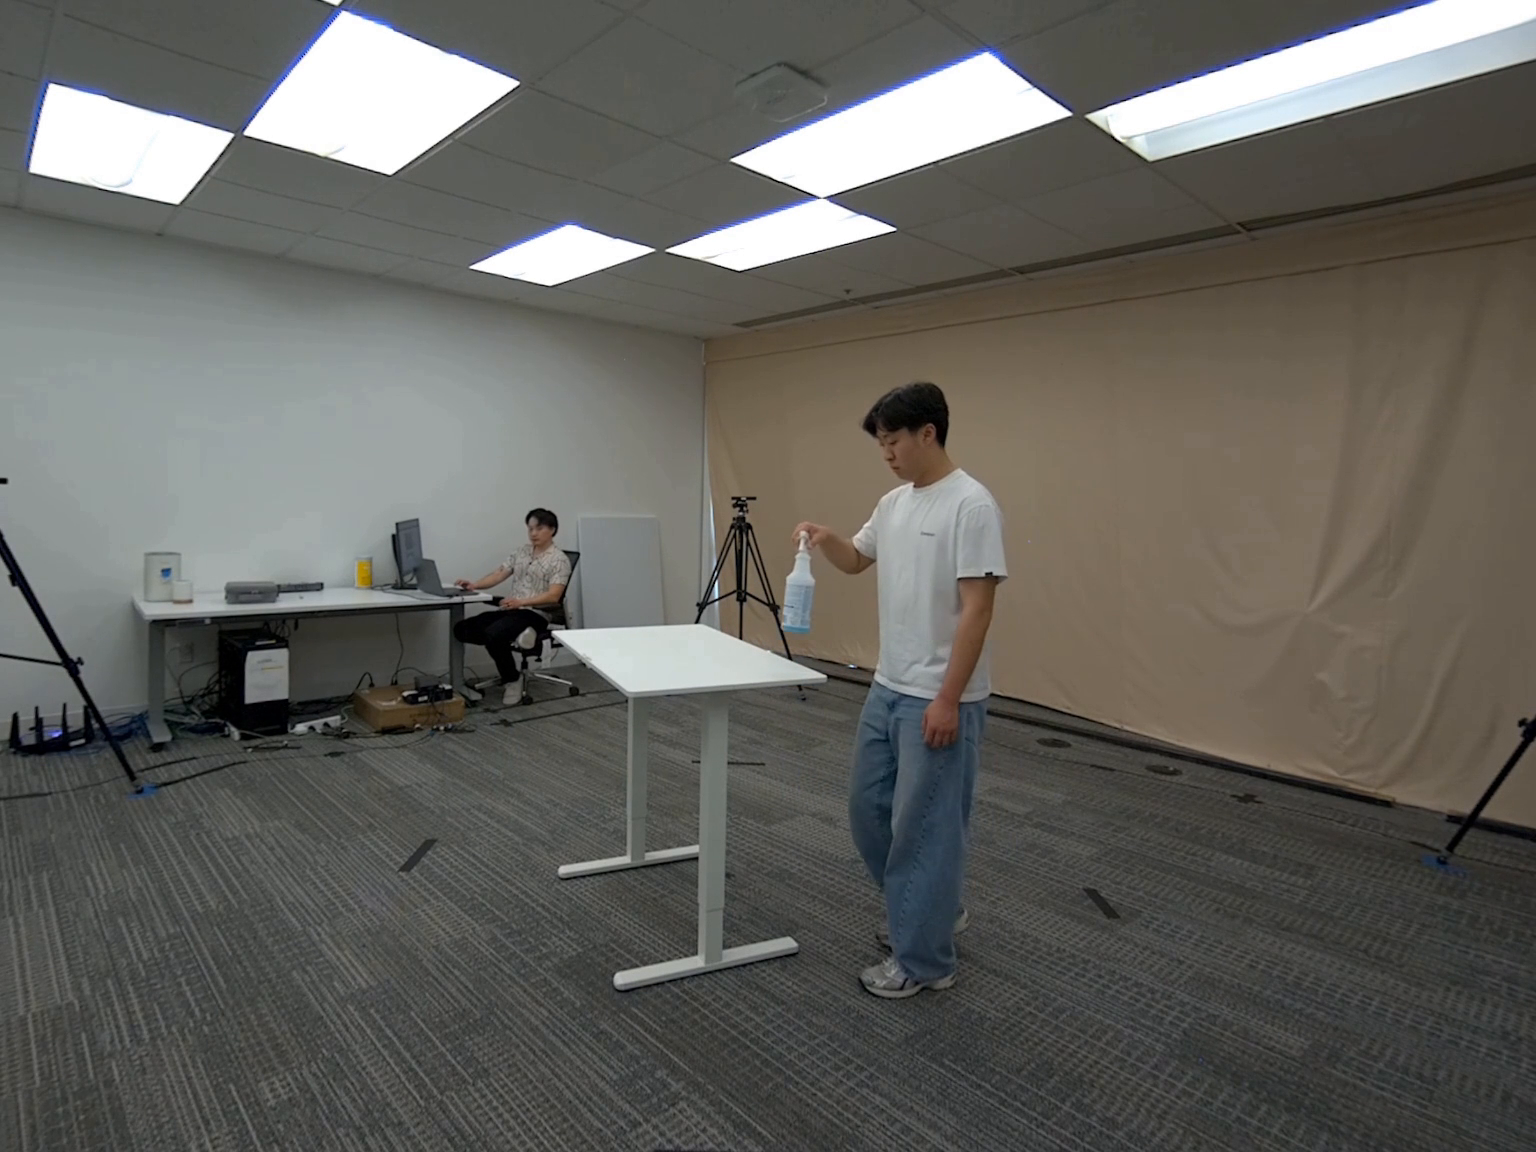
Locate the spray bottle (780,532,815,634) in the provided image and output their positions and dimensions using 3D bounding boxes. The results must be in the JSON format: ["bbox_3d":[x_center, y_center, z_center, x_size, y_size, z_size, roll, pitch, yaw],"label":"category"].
[{"bbox_3d":[0.100,0.037,2.501,0.089,0.296,0.088,9,5,39],"label":"spray bottle"}]
